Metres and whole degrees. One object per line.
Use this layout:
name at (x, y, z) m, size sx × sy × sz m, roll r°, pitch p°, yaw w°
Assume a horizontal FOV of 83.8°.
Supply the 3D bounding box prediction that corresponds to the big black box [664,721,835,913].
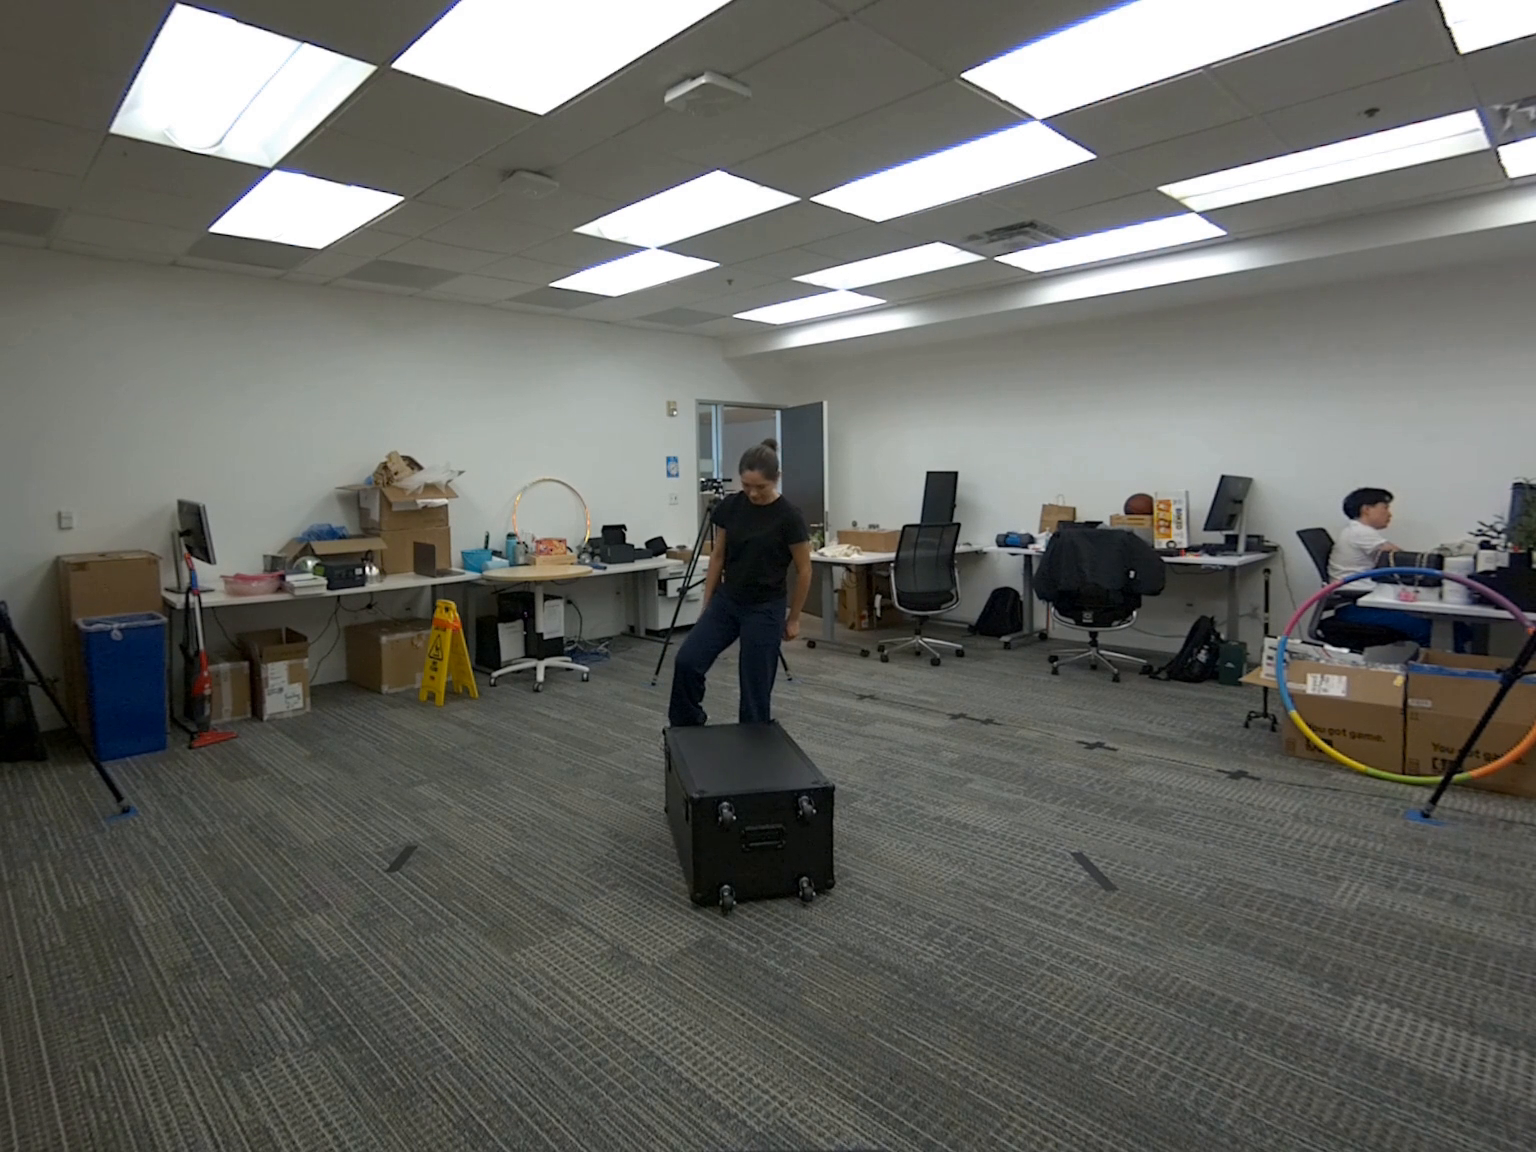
big black box at (-0.100, 0.848, 3.166) m, size 0.515 × 0.395 × 0.875 m, roll -3°, pitch 5°, yaw -13°
